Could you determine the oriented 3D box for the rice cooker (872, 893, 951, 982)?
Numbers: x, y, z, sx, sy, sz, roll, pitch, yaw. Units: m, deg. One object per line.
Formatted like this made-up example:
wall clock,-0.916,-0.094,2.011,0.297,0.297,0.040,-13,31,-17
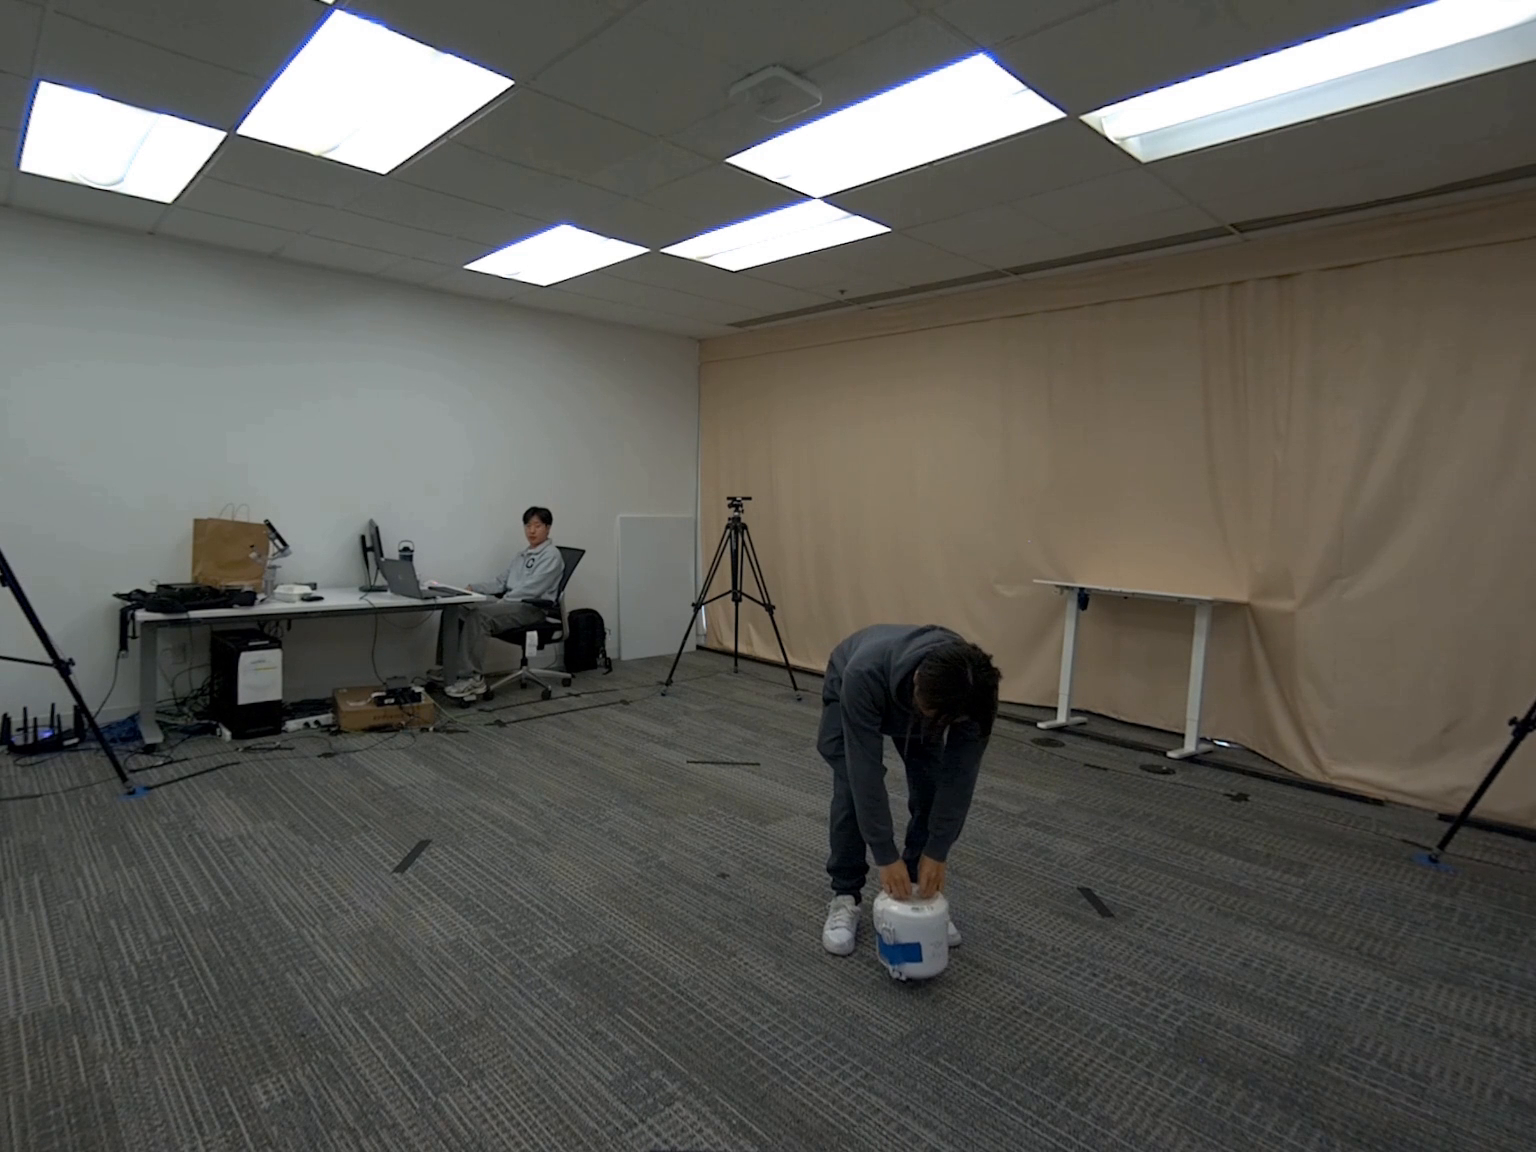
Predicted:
rice cooker,0.409,1.023,2.462,0.220,0.232,0.218,0,2,-6
